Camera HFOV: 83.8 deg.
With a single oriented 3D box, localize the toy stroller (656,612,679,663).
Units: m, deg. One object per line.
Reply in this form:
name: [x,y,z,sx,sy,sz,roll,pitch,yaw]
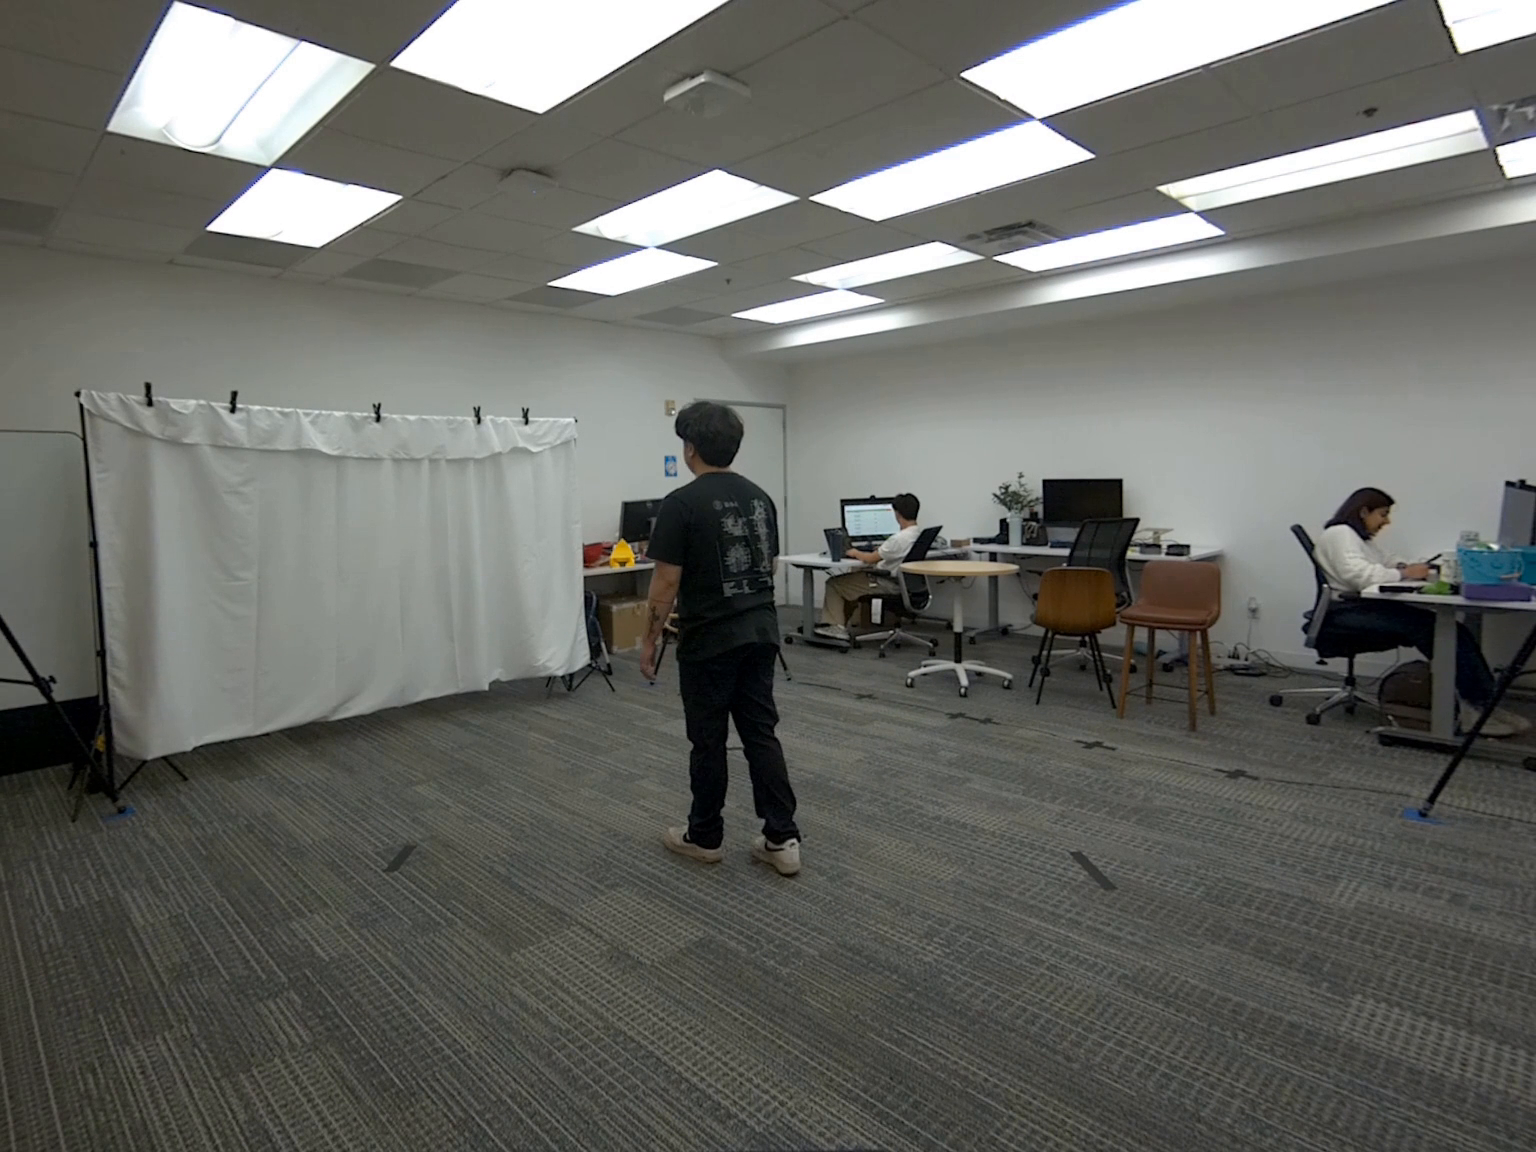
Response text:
toy stroller: [-0.342,0.027,3.496,0.280,0.533,0.344,1,3,-7]
